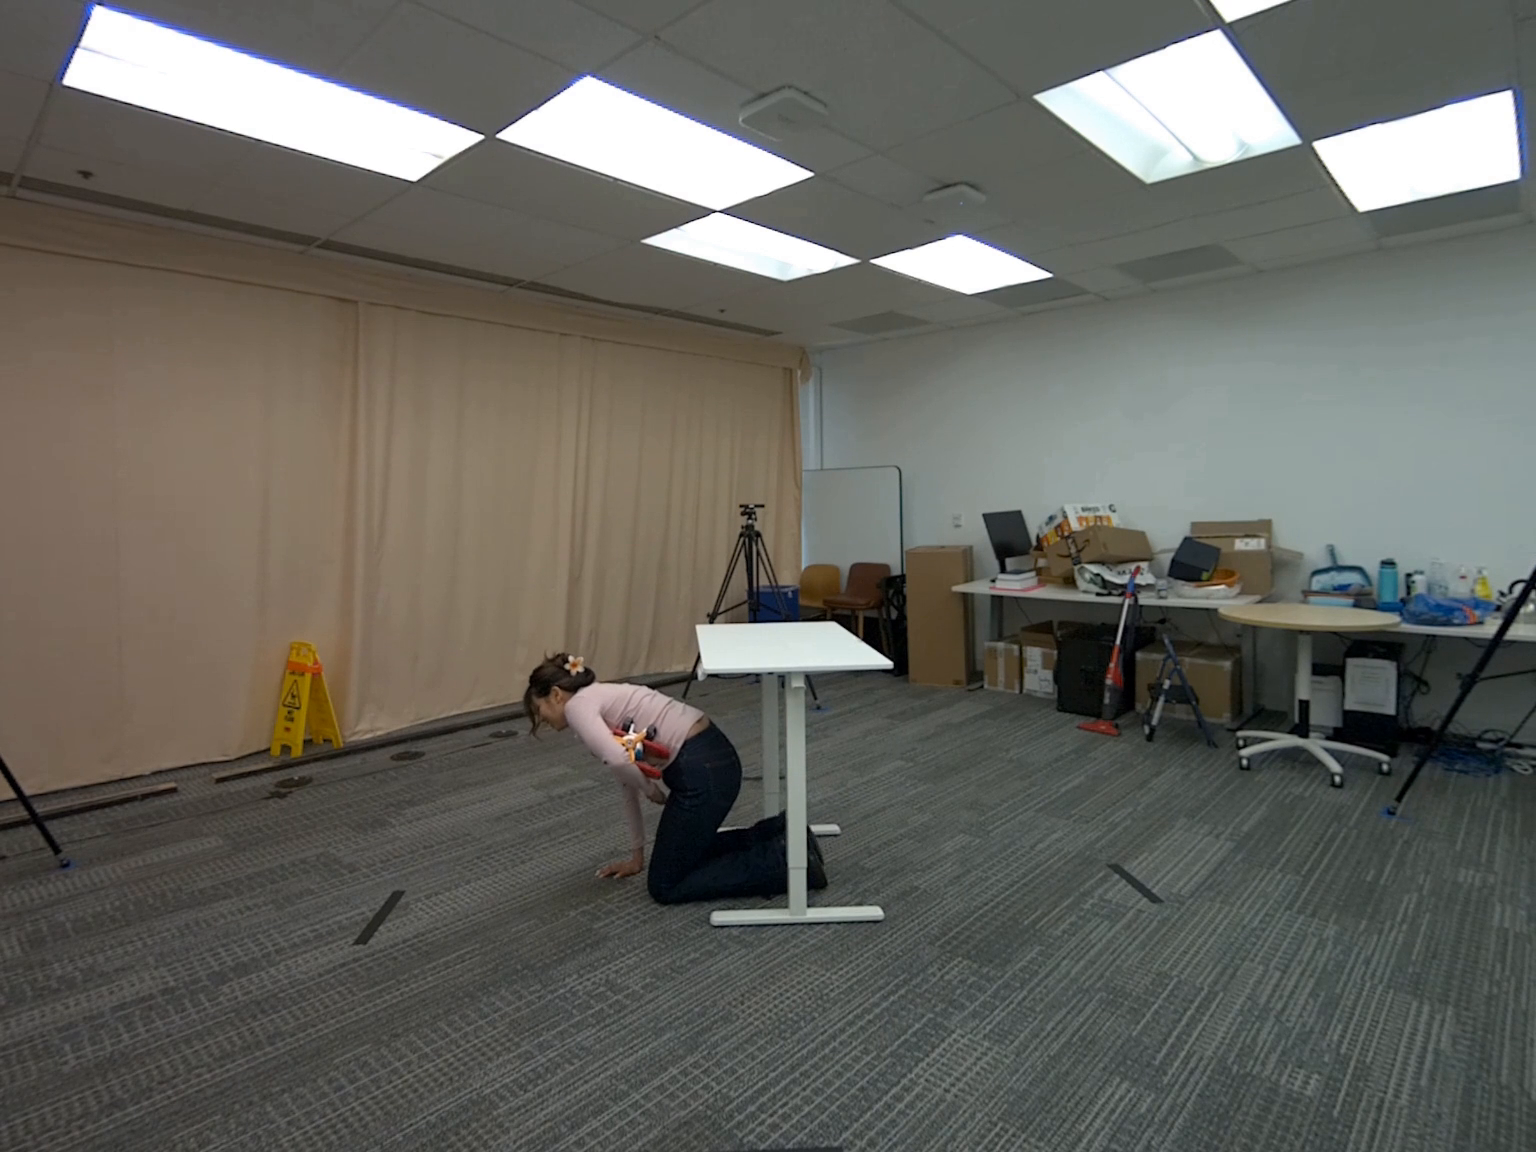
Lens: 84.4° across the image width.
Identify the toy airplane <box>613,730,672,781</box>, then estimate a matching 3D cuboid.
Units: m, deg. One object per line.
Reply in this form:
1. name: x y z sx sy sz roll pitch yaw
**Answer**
1. toy airplane: -0.436 0.620 2.901 0.257 0.253 0.156 -9 31 31
